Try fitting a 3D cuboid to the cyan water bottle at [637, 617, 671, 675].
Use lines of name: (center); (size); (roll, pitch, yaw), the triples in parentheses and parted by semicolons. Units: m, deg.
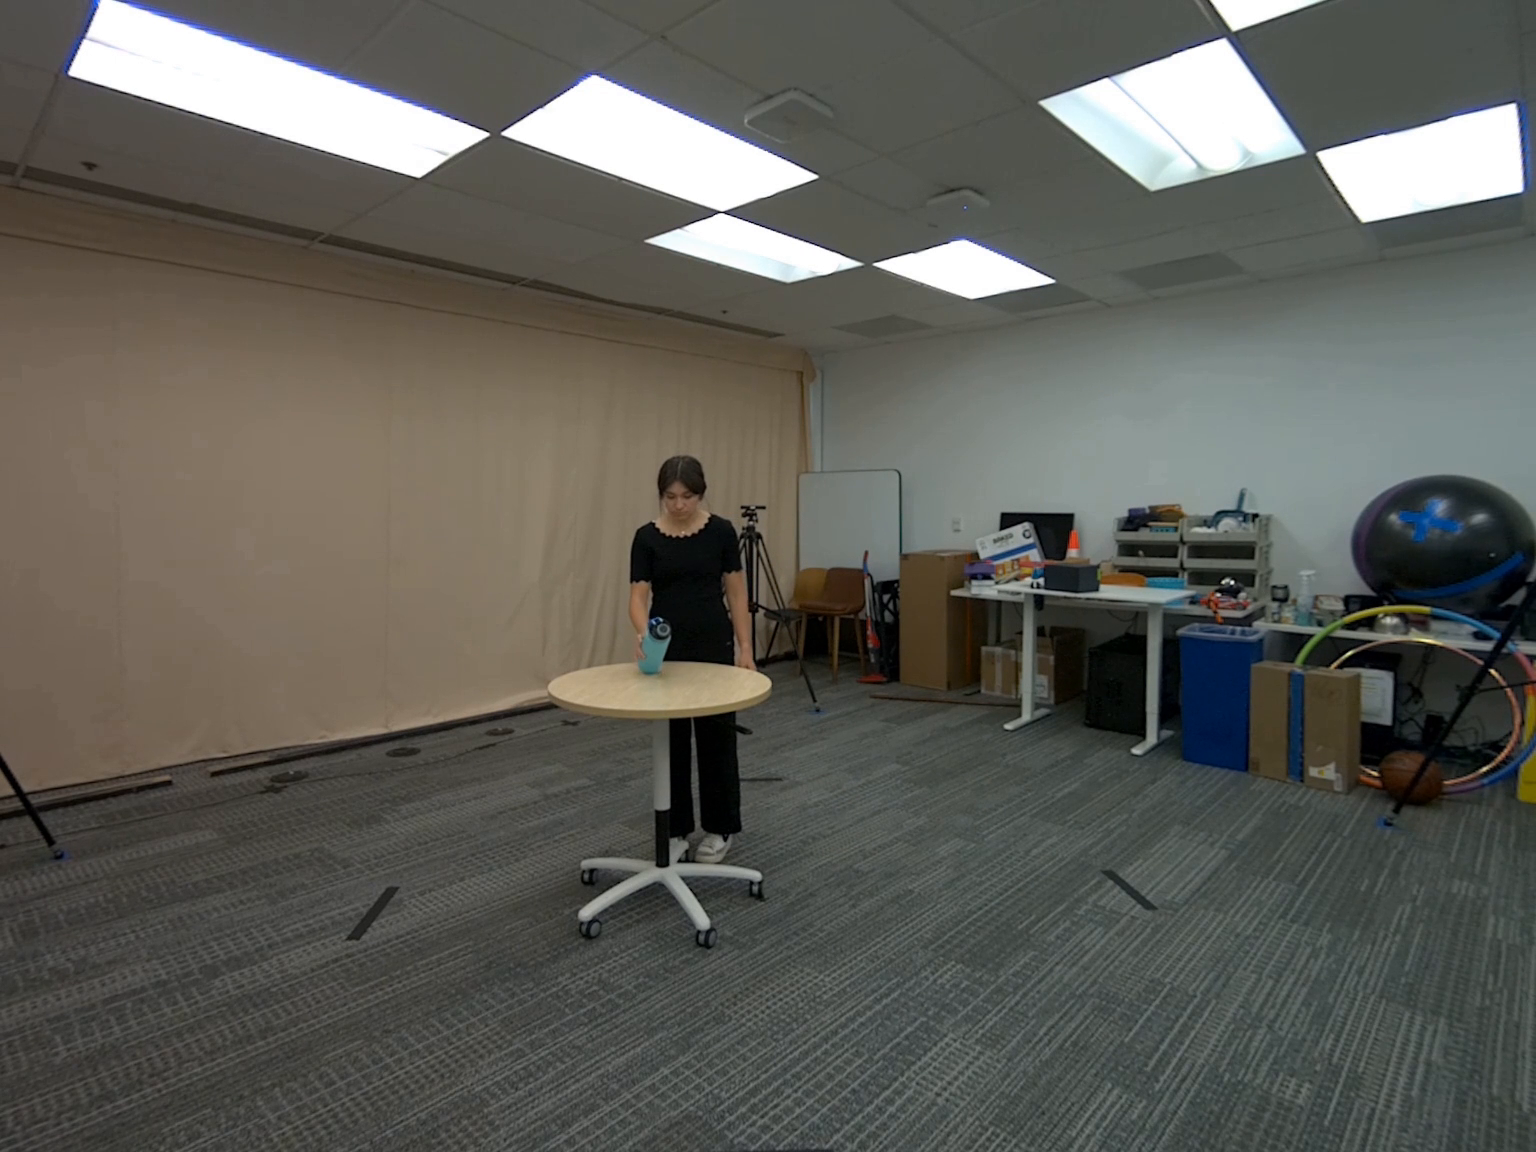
cyan water bottle: (-0.400, 0.243, 2.972); (0.091, 0.094, 0.282); (0, -32, -17)
